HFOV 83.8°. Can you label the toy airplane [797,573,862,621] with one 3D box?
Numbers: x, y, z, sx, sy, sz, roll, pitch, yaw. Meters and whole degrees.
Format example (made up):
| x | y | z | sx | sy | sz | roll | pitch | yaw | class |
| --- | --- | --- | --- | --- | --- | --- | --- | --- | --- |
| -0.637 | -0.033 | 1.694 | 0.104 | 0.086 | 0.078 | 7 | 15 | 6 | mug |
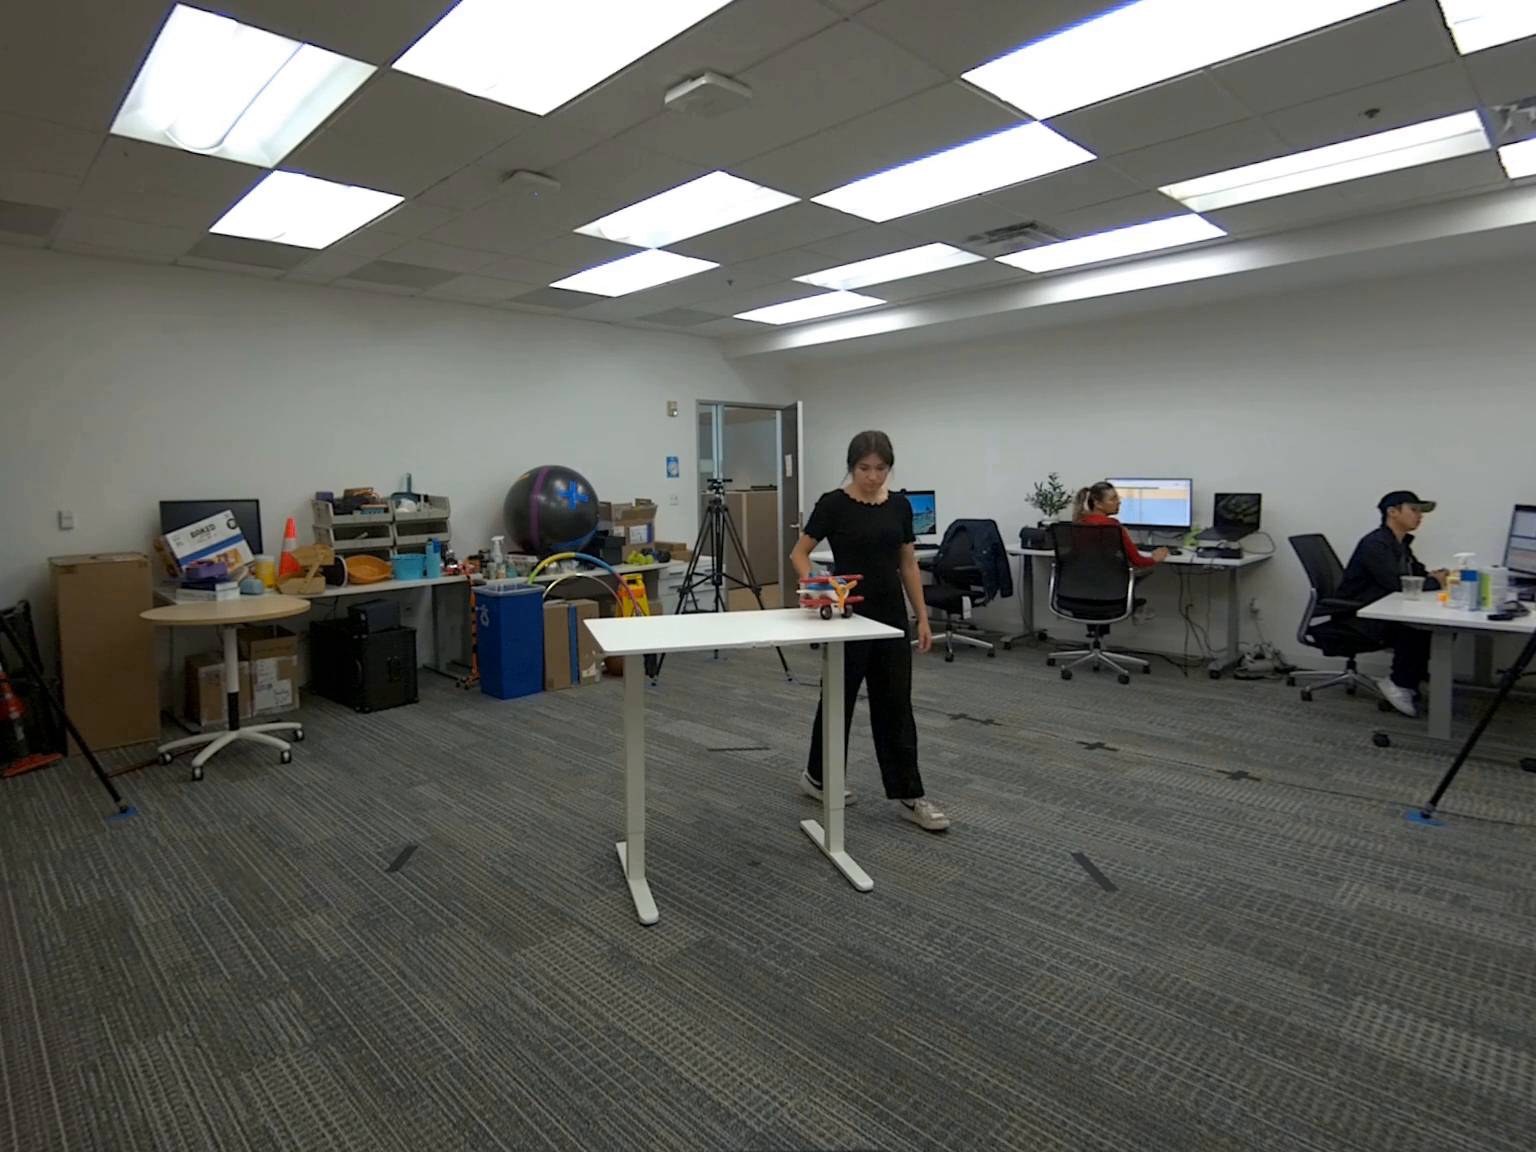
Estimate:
| x | y | z | sx | sy | sz | roll | pitch | yaw | class |
| --- | --- | --- | --- | --- | --- | --- | --- | --- | --- |
| 0.205 | 0.065 | 3.188 | 0.268 | 0.155 | 0.245 | 13 | 15 | 38 | toy airplane |
